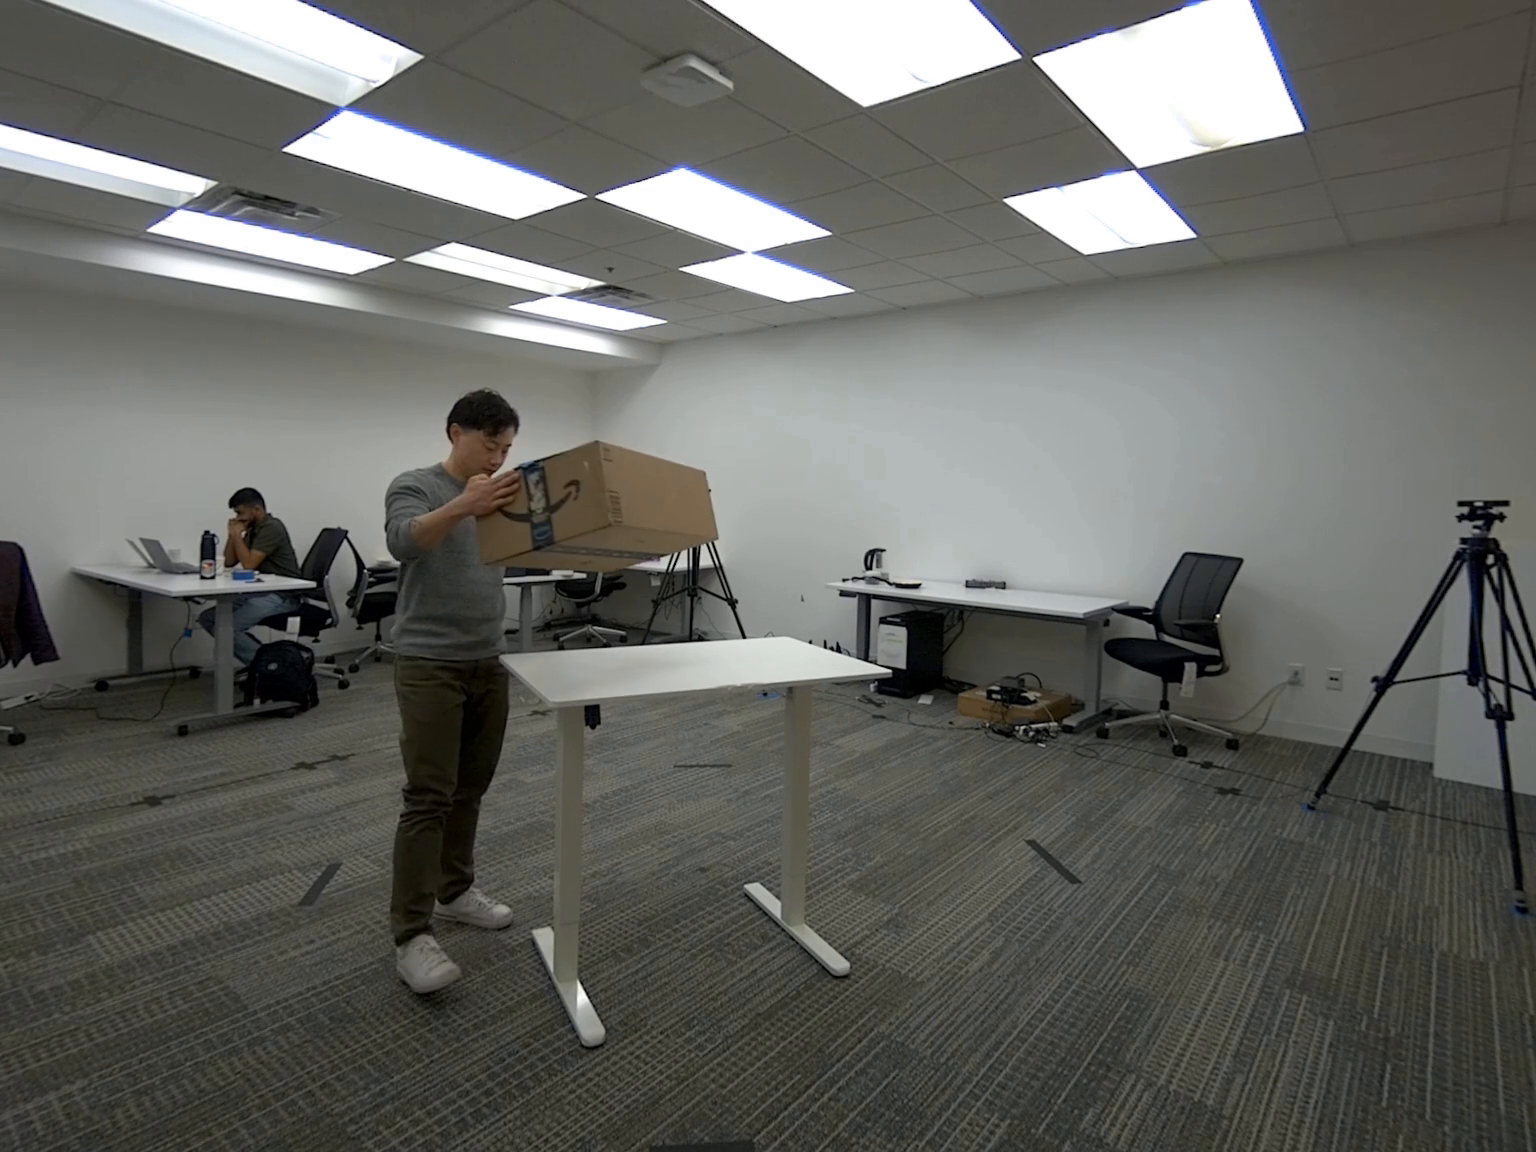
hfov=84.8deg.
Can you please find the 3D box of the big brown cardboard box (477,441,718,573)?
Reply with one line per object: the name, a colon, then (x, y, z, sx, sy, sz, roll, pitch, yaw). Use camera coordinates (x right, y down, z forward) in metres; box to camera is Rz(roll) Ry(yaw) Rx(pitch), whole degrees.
big brown cardboard box: (-0.481, -0.168, 2.356, 0.425, 0.236, 0.572, -14, -8, 24)
